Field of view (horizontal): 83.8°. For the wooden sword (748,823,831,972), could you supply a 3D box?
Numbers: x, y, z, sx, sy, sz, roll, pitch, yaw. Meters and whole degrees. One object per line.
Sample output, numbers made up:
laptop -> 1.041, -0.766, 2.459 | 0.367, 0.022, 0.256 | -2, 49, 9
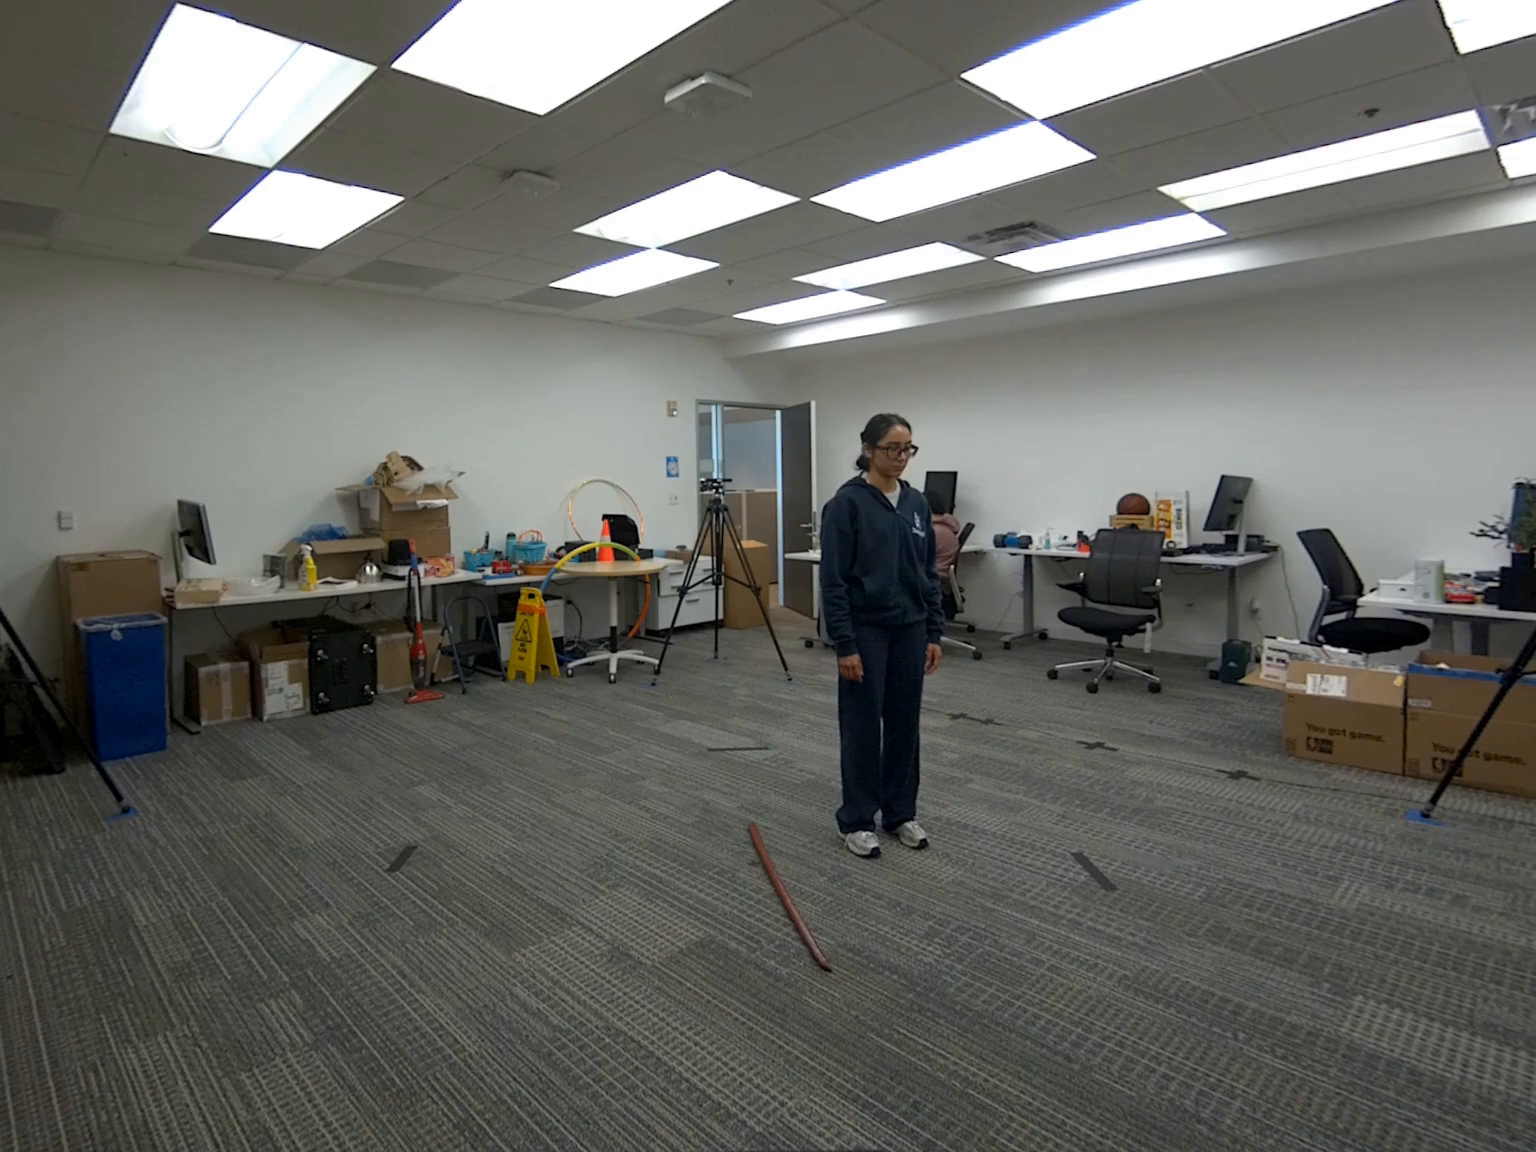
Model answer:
wooden sword -> 0.041, 1.046, 2.915 | 0.050, 0.024, 1.040 | 9, 4, -13
